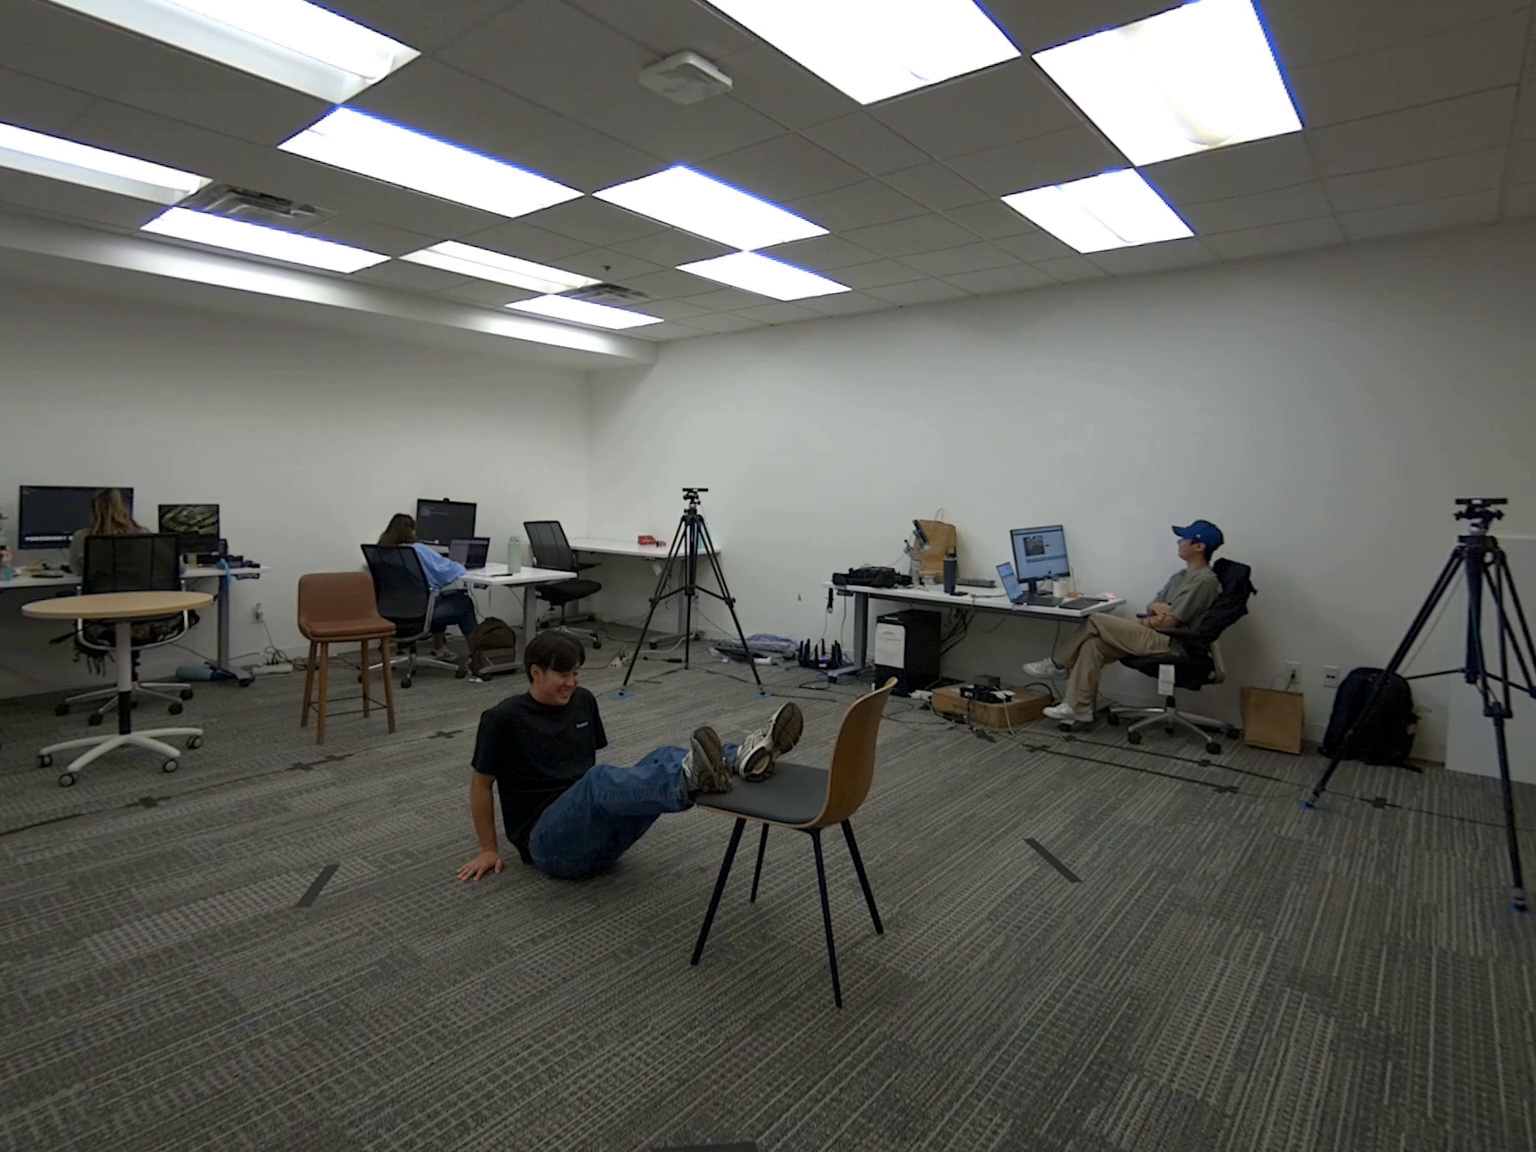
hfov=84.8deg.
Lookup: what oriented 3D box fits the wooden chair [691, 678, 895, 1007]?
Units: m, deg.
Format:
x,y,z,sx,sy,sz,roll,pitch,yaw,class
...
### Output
x,y,z,sx,sy,sz,roll,pitch,yaw,class
0.070,0.701,2.562,0.537,0.874,0.467,7,5,24,wooden chair
